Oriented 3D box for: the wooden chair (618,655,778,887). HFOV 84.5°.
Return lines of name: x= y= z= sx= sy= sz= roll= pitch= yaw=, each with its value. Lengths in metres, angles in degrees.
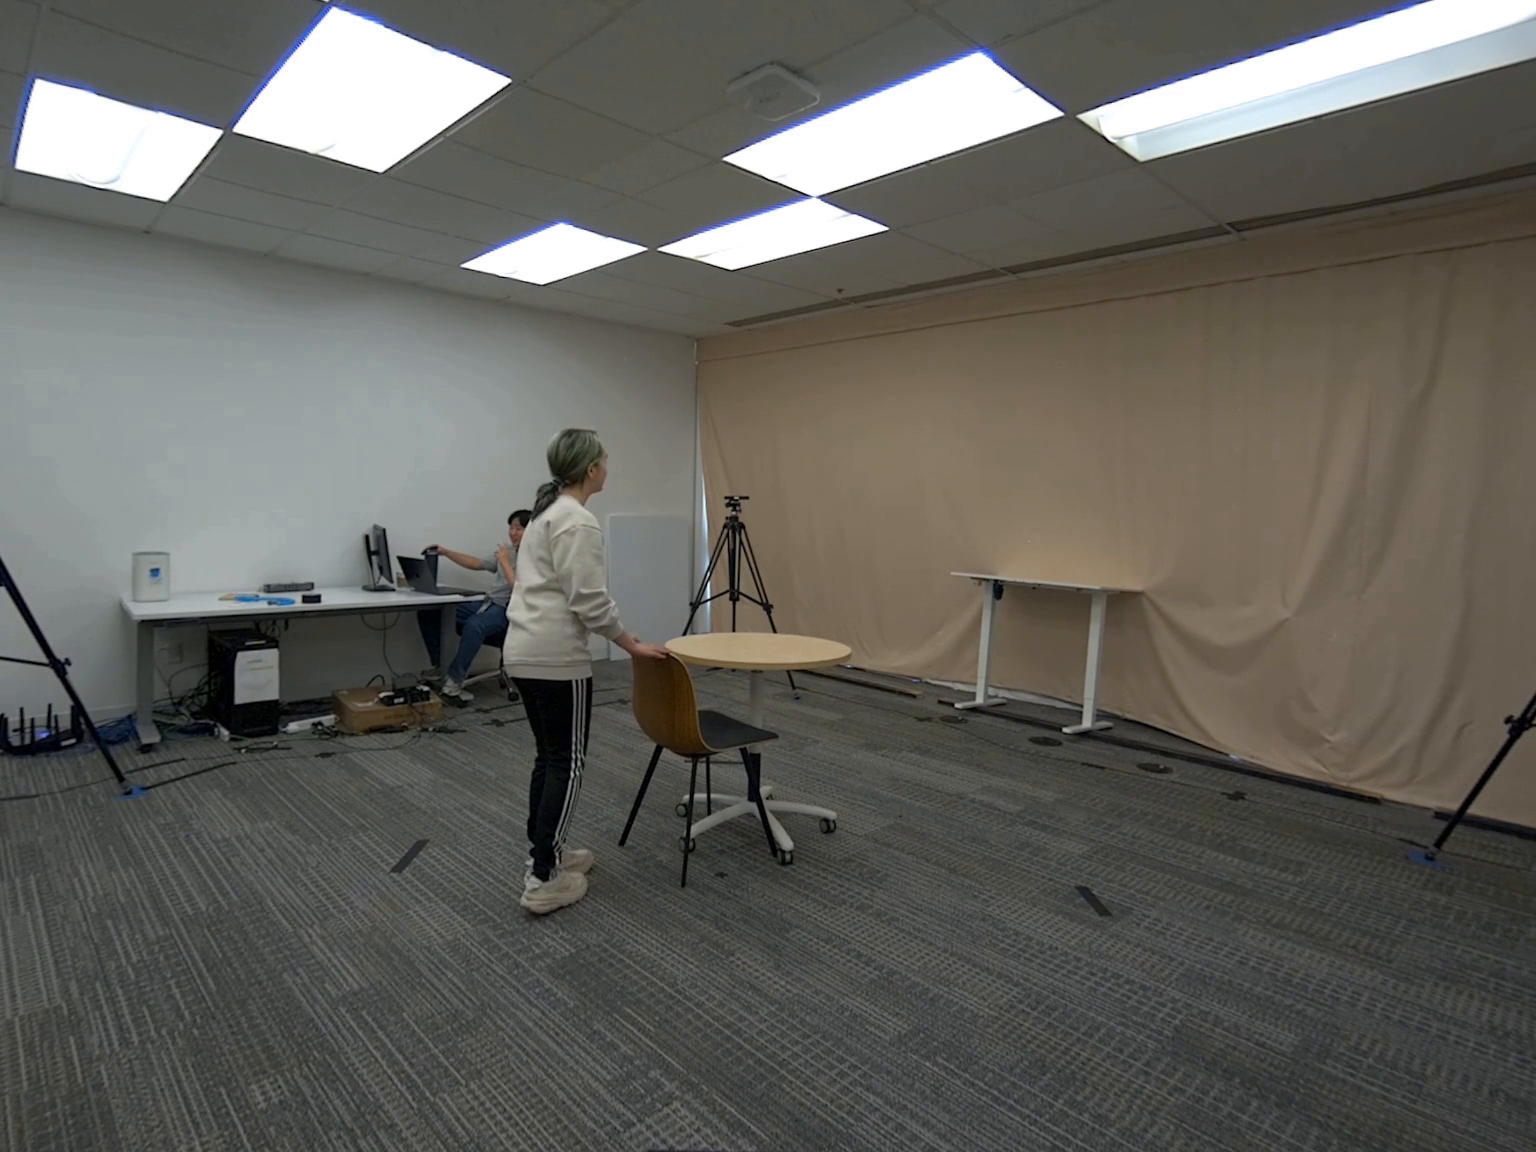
wooden chair: x=-0.266 y=0.659 z=3.282 sx=0.512 sy=0.874 sz=0.490 roll=-6 pitch=7 yaw=-38
